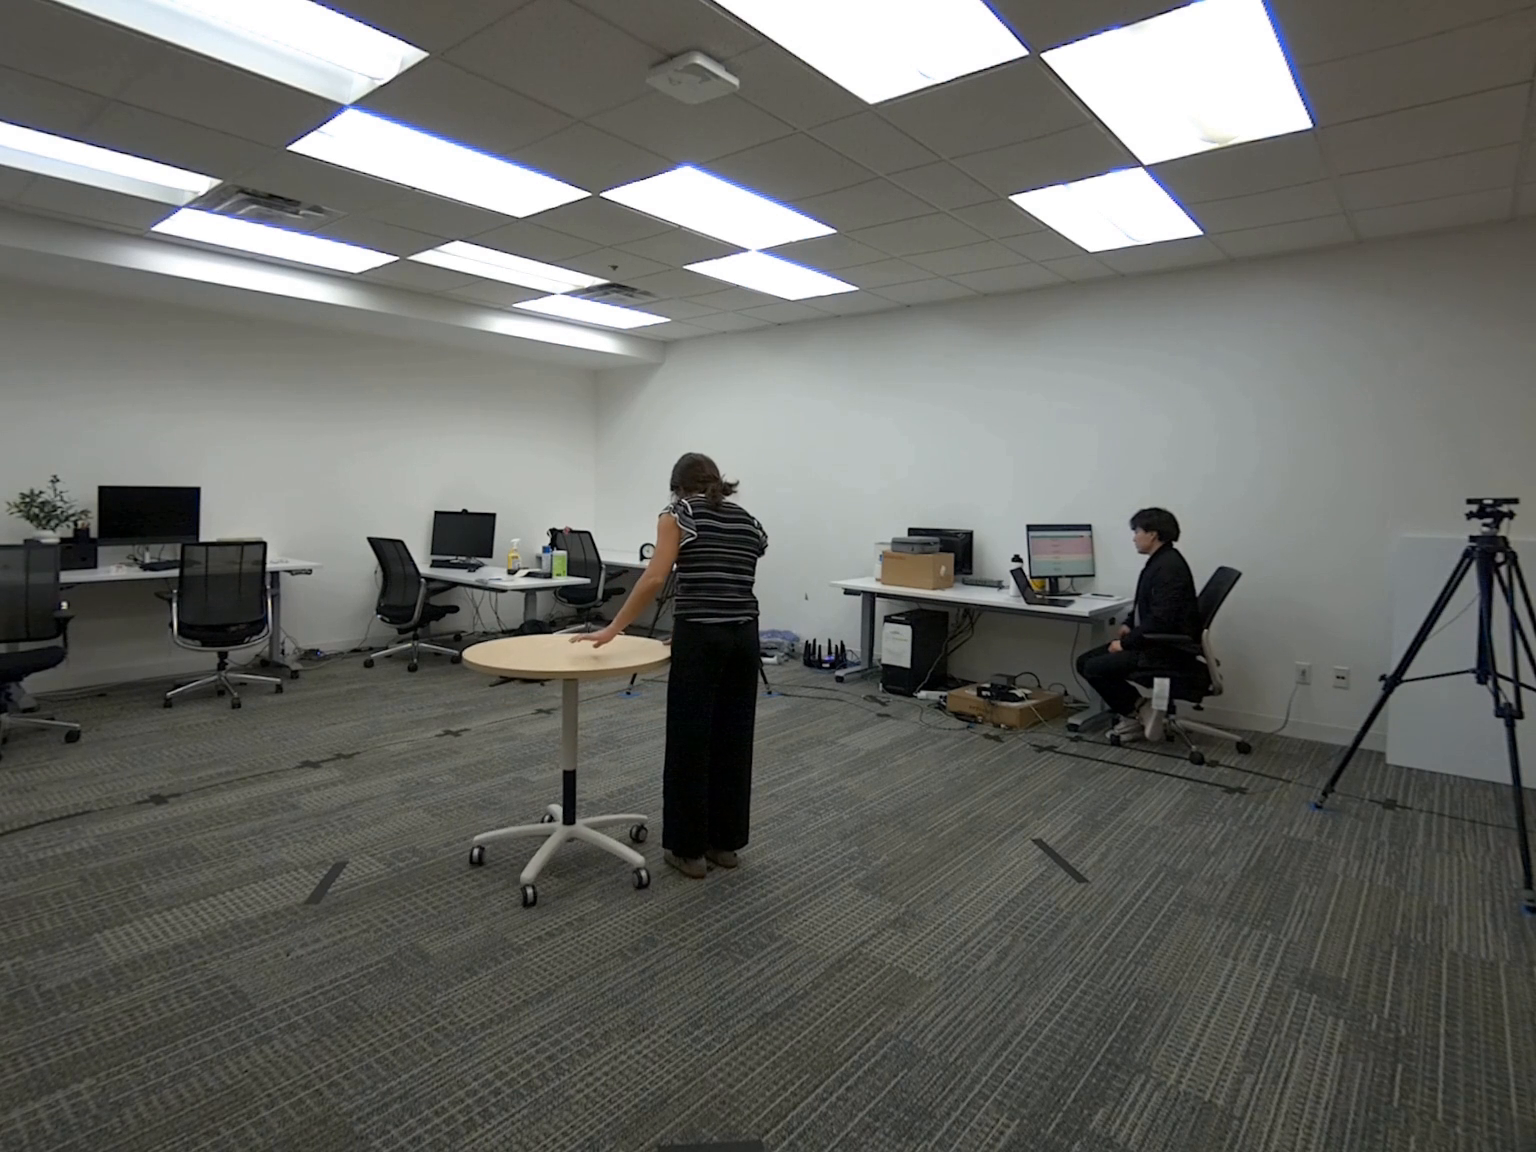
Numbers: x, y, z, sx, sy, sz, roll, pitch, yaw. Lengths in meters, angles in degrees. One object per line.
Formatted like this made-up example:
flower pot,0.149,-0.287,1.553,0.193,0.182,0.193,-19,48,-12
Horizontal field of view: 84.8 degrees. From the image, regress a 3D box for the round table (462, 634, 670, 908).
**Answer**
round table,-0.729,0.661,3.142,0.784,0.784,0.789,1,4,-2
